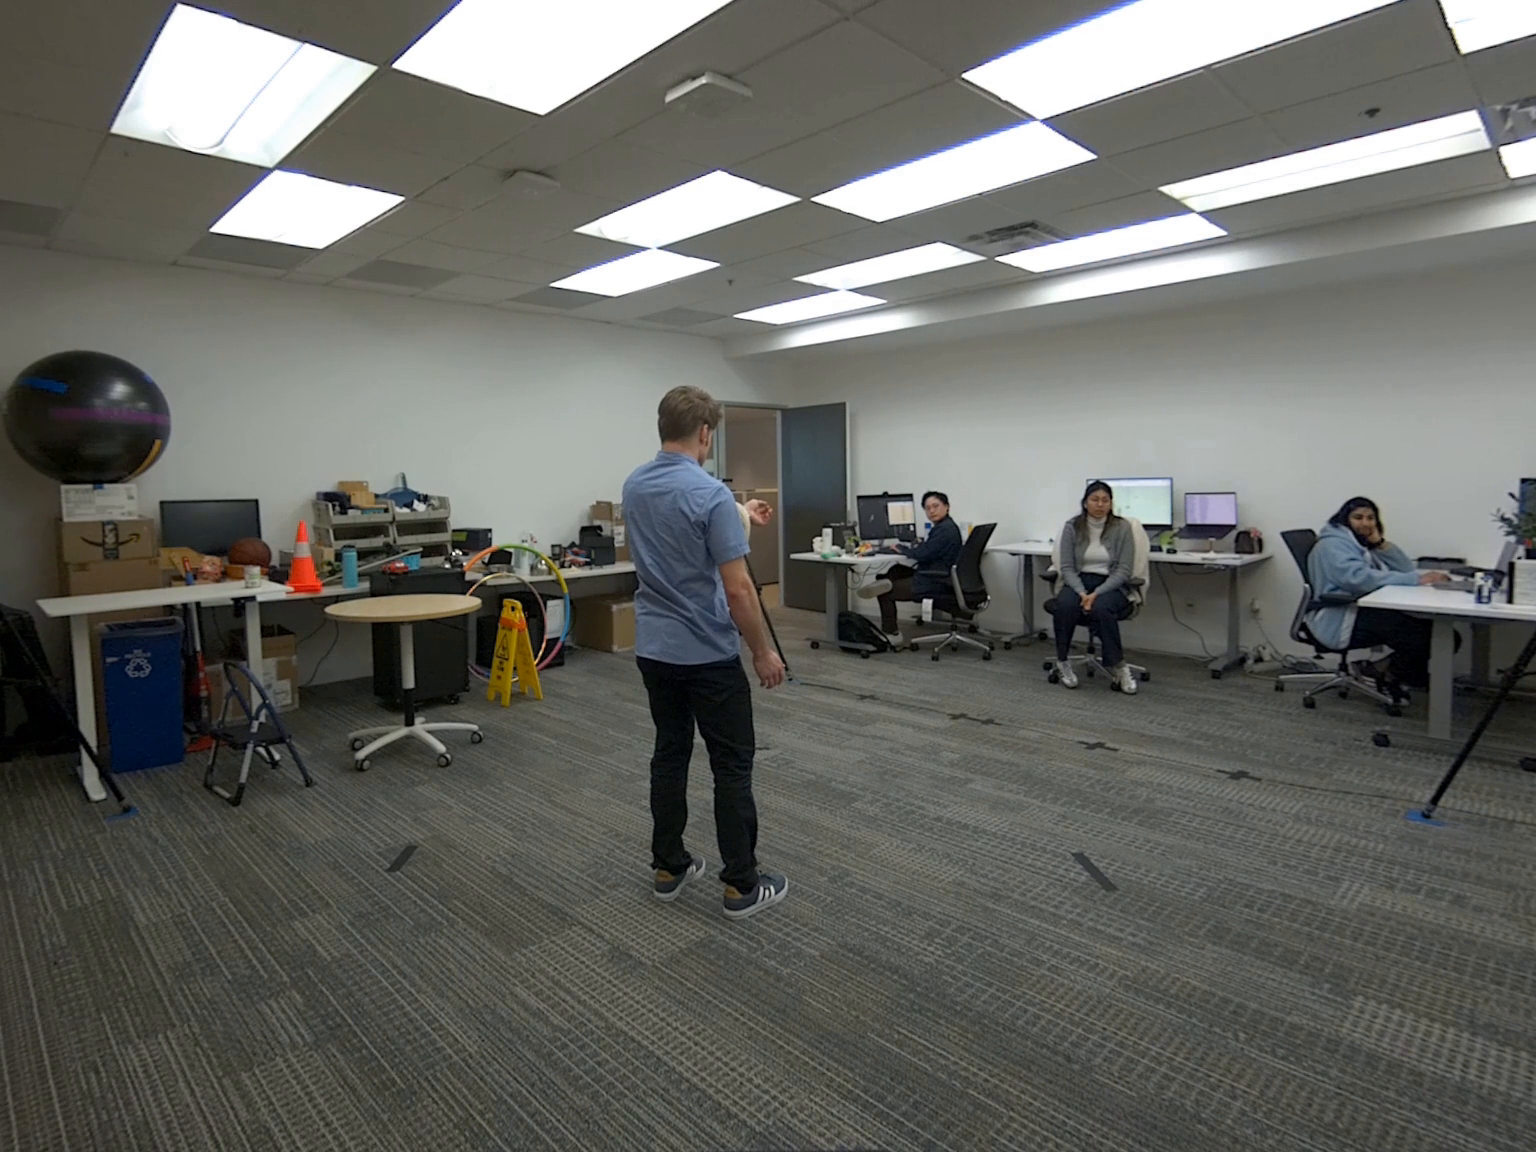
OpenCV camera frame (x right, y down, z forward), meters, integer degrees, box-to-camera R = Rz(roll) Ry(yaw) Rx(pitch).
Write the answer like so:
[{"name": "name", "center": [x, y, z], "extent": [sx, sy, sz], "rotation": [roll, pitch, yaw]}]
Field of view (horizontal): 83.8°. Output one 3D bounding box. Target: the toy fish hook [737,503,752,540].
[{"name": "toy fish hook", "center": [-0.170, -0.036, 3.197], "extent": [0.047, 0.501, 0.233], "rotation": [1, 19, -34]}]
